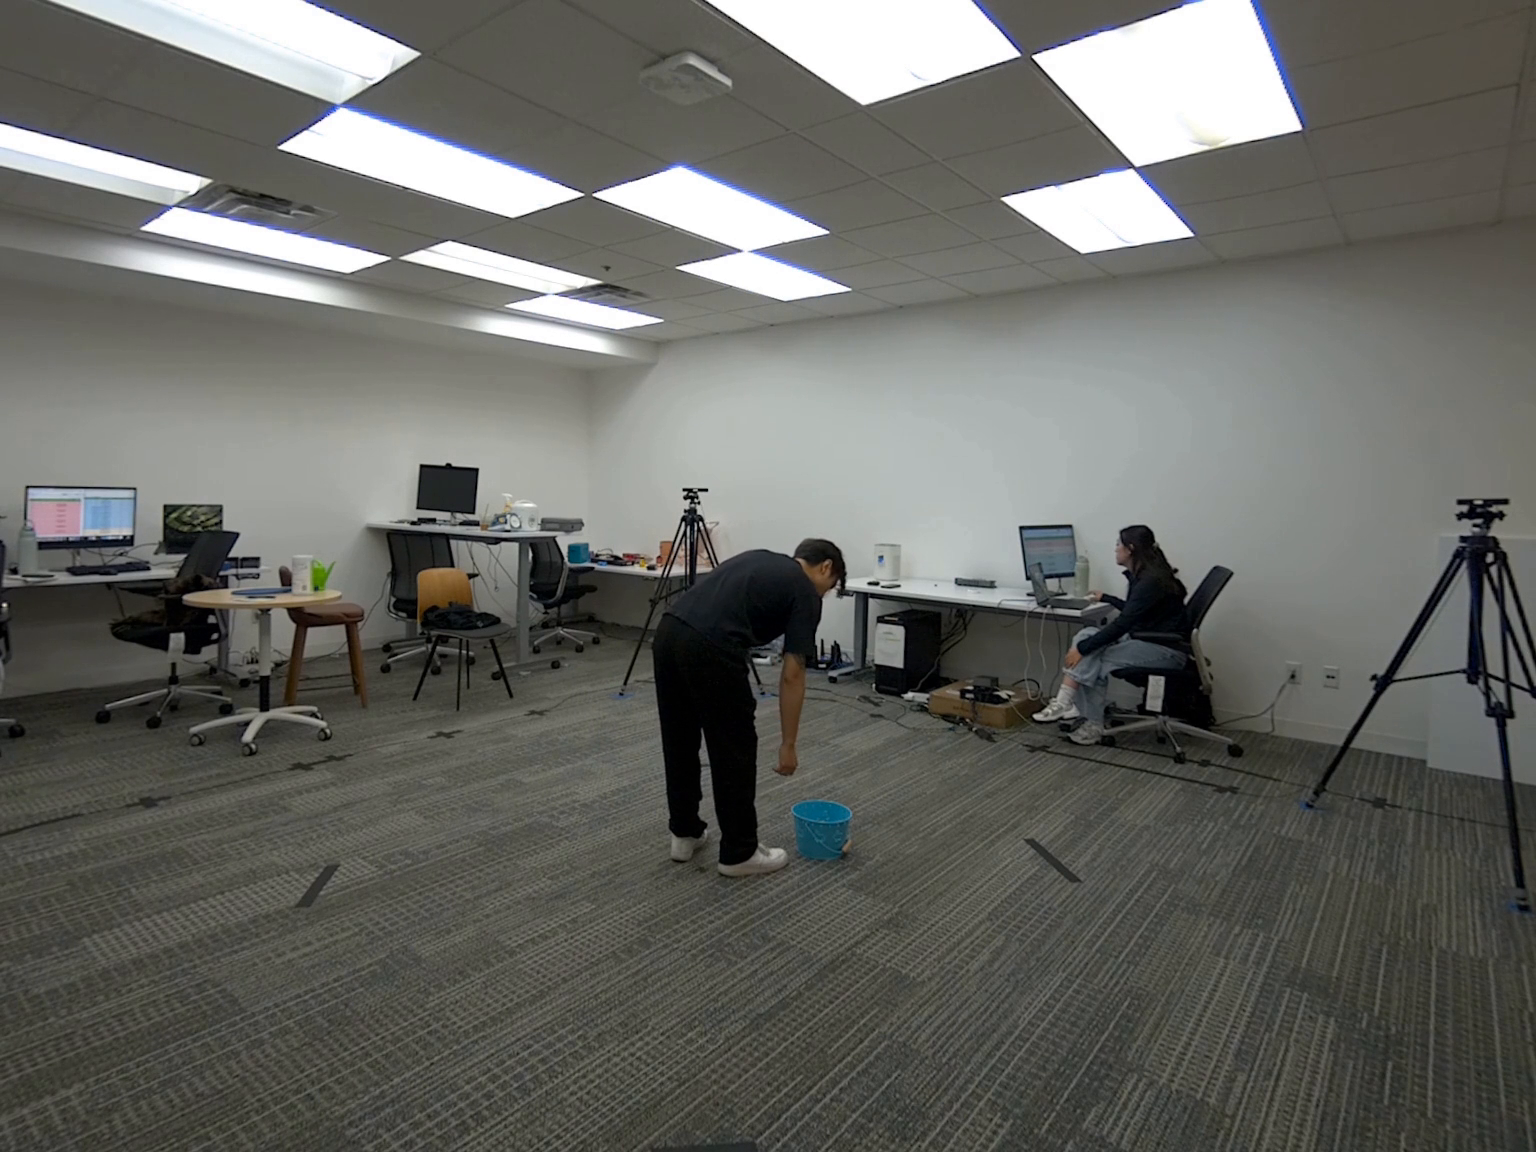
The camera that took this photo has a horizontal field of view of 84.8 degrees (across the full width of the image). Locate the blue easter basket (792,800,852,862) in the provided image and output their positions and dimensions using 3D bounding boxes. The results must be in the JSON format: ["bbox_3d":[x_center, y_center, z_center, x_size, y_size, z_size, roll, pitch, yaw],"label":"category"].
[{"bbox_3d":[0.201,0.984,3.291,0.243,0.155,0.245,1,5,-2],"label":"blue easter basket"}]
